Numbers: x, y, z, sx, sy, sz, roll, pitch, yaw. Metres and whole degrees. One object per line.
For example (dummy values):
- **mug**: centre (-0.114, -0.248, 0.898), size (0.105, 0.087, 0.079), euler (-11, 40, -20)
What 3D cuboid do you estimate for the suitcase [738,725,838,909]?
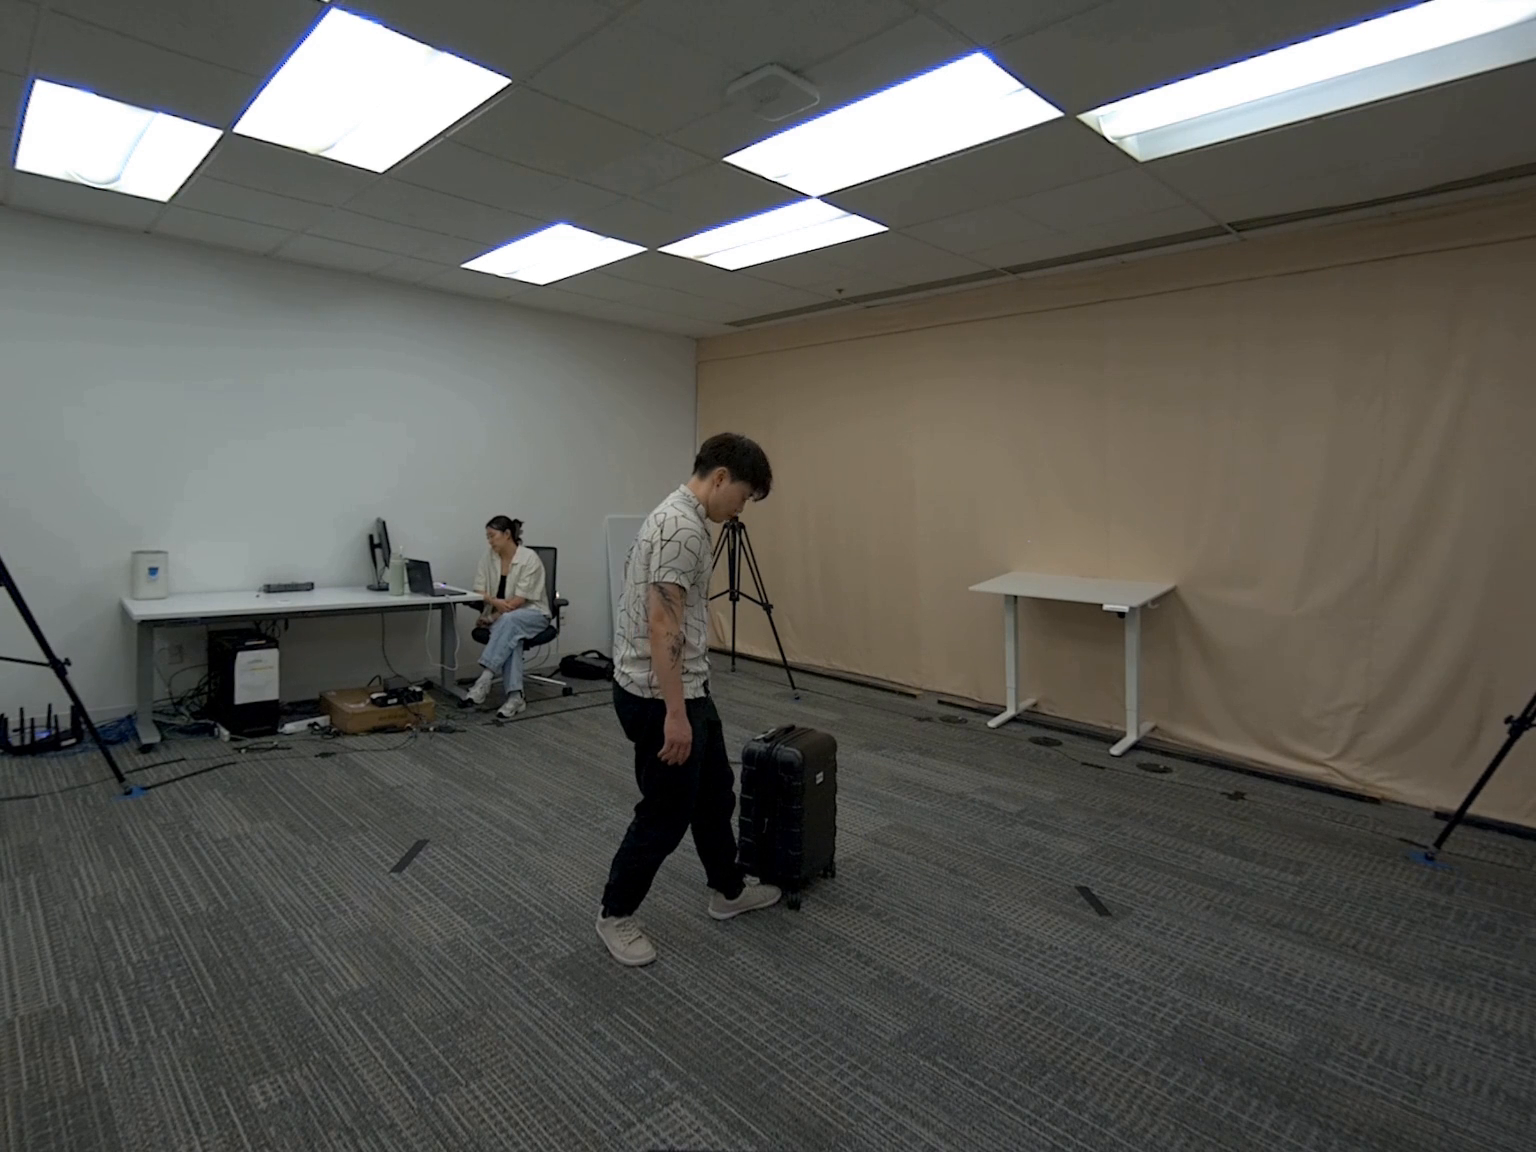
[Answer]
- **suitcase**: centre (0.072, 0.837, 3.050), size (0.253, 0.548, 0.368), euler (3, 2, 29)
